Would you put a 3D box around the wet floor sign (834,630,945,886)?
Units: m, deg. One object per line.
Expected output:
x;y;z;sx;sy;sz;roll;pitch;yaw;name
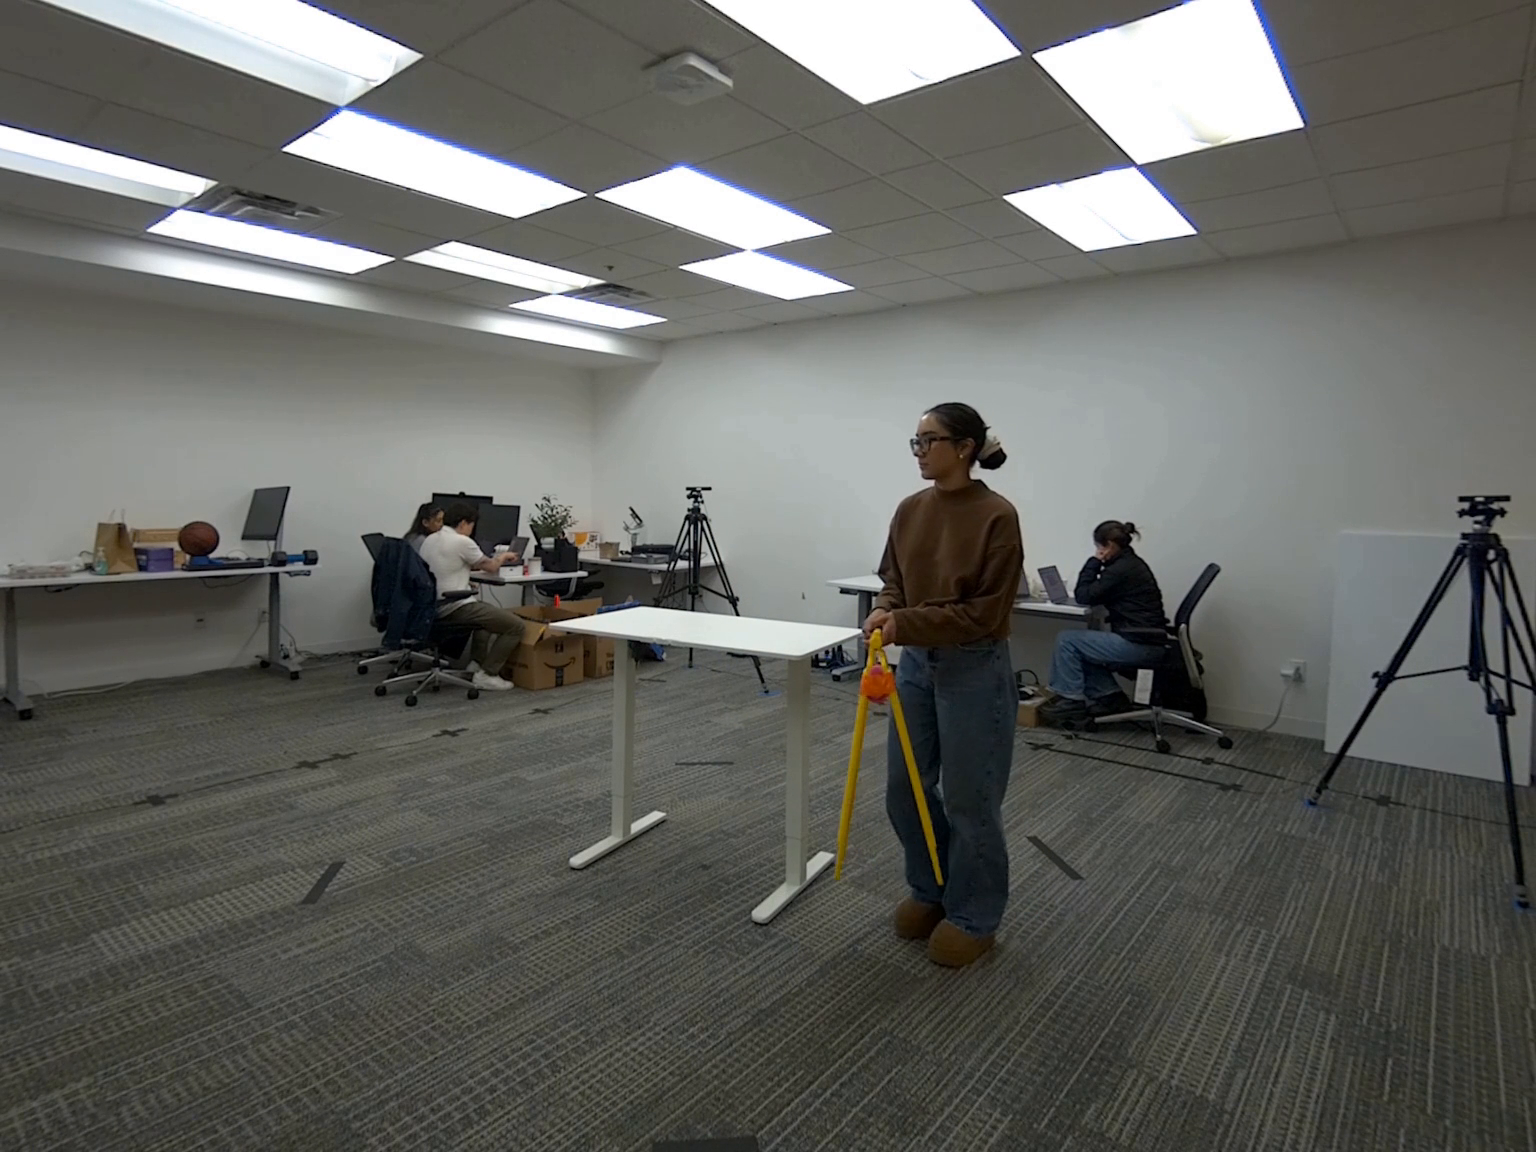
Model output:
0.312;0.475;2.361;0.293;0.648;0.278;-3;-3;11;wet floor sign
